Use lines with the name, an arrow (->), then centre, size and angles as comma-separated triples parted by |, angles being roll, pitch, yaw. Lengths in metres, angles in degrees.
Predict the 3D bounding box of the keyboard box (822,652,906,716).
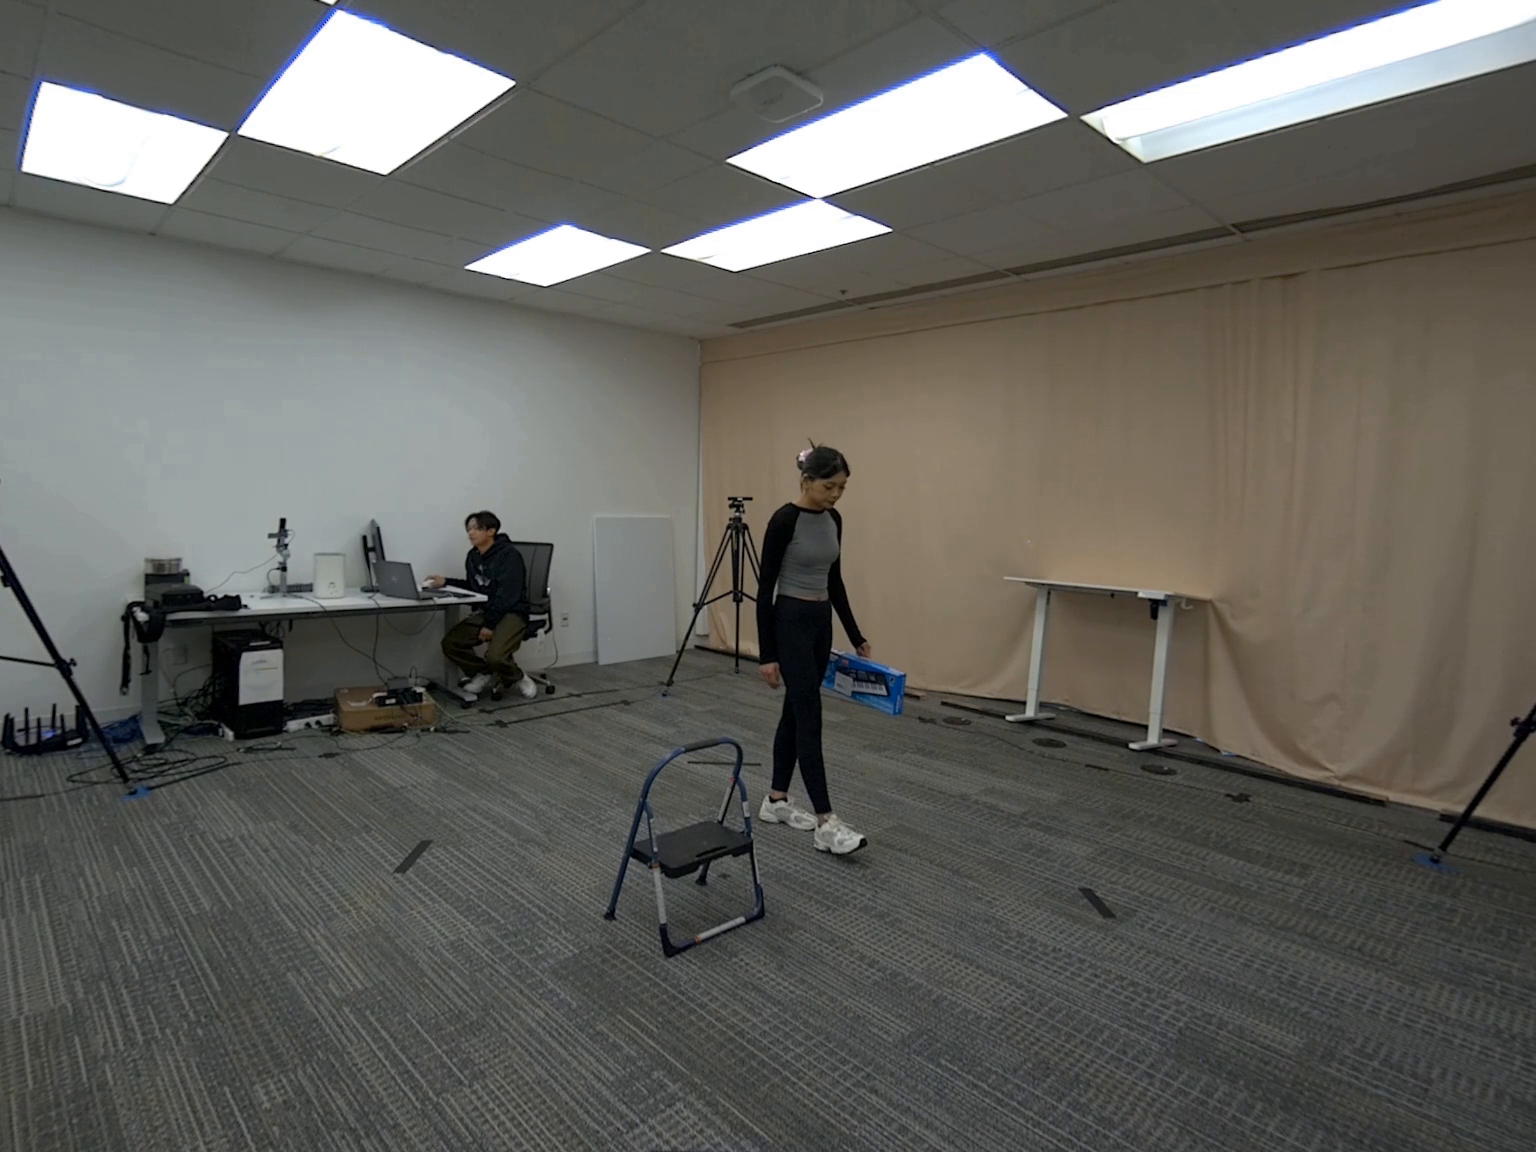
keyboard box -> 0.394, 0.450, 3.643 | 0.058, 0.175, 0.449 | -3, 12, -40
